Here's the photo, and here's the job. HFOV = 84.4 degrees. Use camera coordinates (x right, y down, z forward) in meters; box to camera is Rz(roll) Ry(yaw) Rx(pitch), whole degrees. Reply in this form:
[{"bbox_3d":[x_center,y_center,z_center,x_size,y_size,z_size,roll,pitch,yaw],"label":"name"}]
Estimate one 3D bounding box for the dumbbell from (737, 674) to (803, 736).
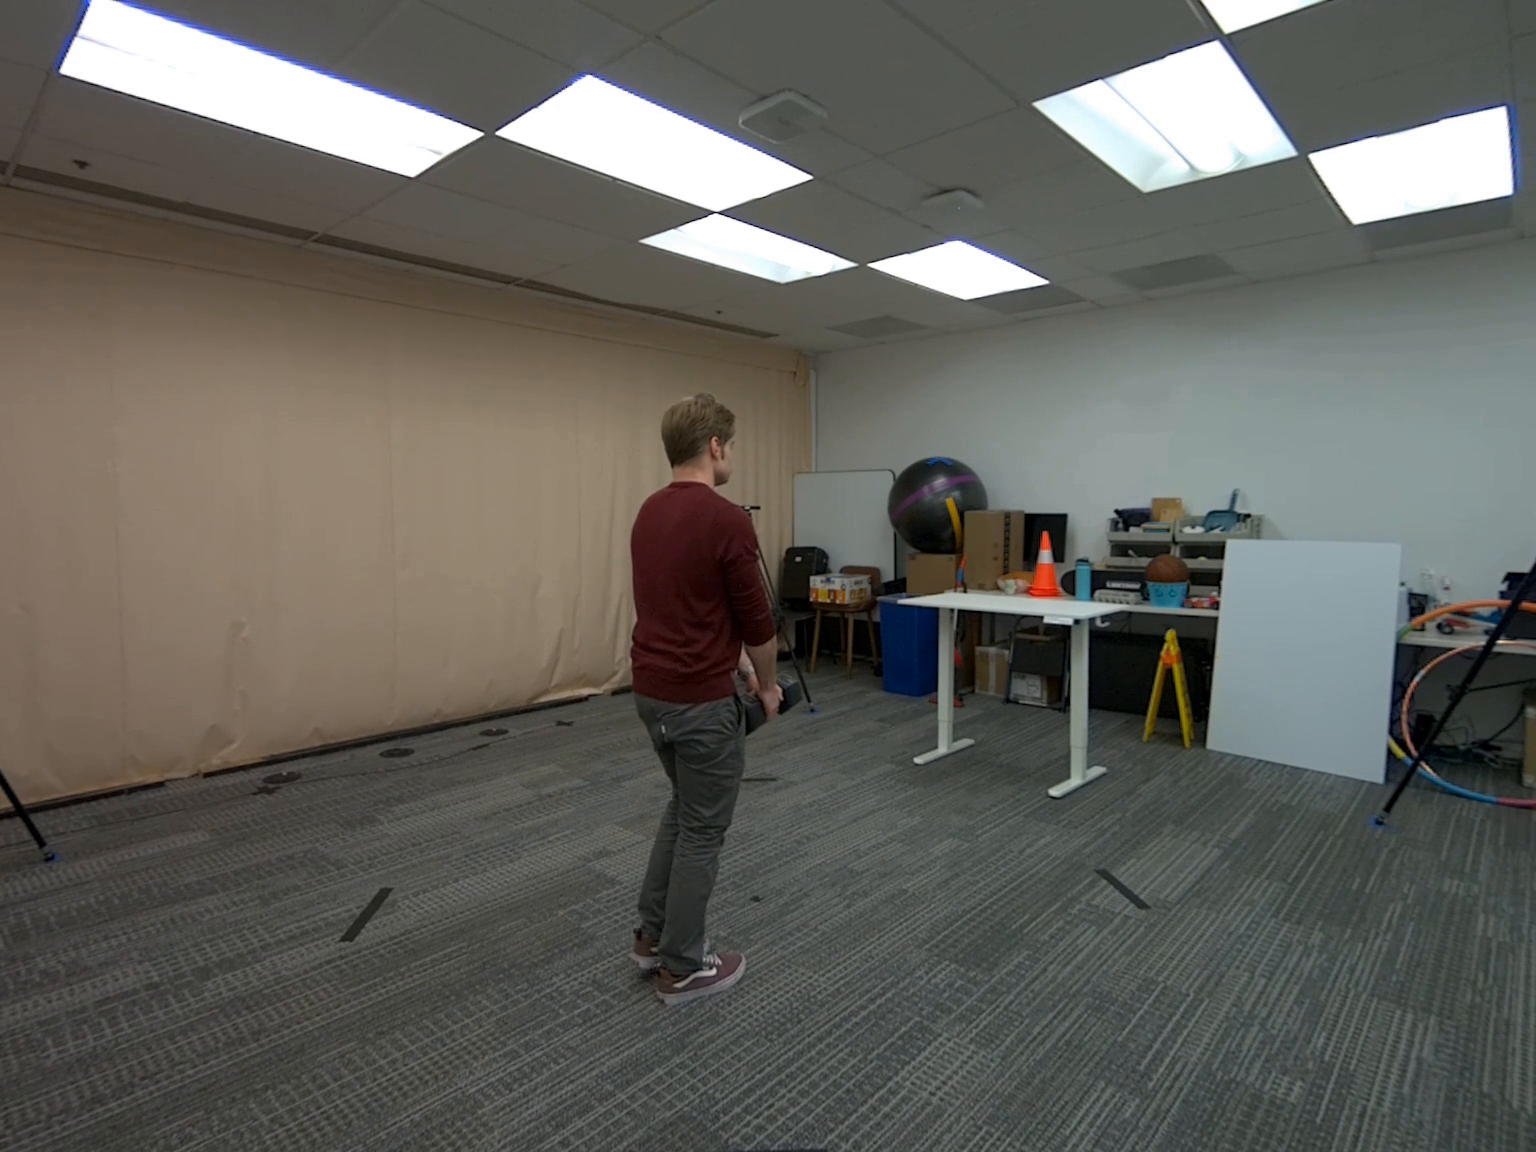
[{"bbox_3d":[-0.003,0.392,2.589,0.286,0.110,0.124,-19,-23,-52],"label":"dumbbell"}]
